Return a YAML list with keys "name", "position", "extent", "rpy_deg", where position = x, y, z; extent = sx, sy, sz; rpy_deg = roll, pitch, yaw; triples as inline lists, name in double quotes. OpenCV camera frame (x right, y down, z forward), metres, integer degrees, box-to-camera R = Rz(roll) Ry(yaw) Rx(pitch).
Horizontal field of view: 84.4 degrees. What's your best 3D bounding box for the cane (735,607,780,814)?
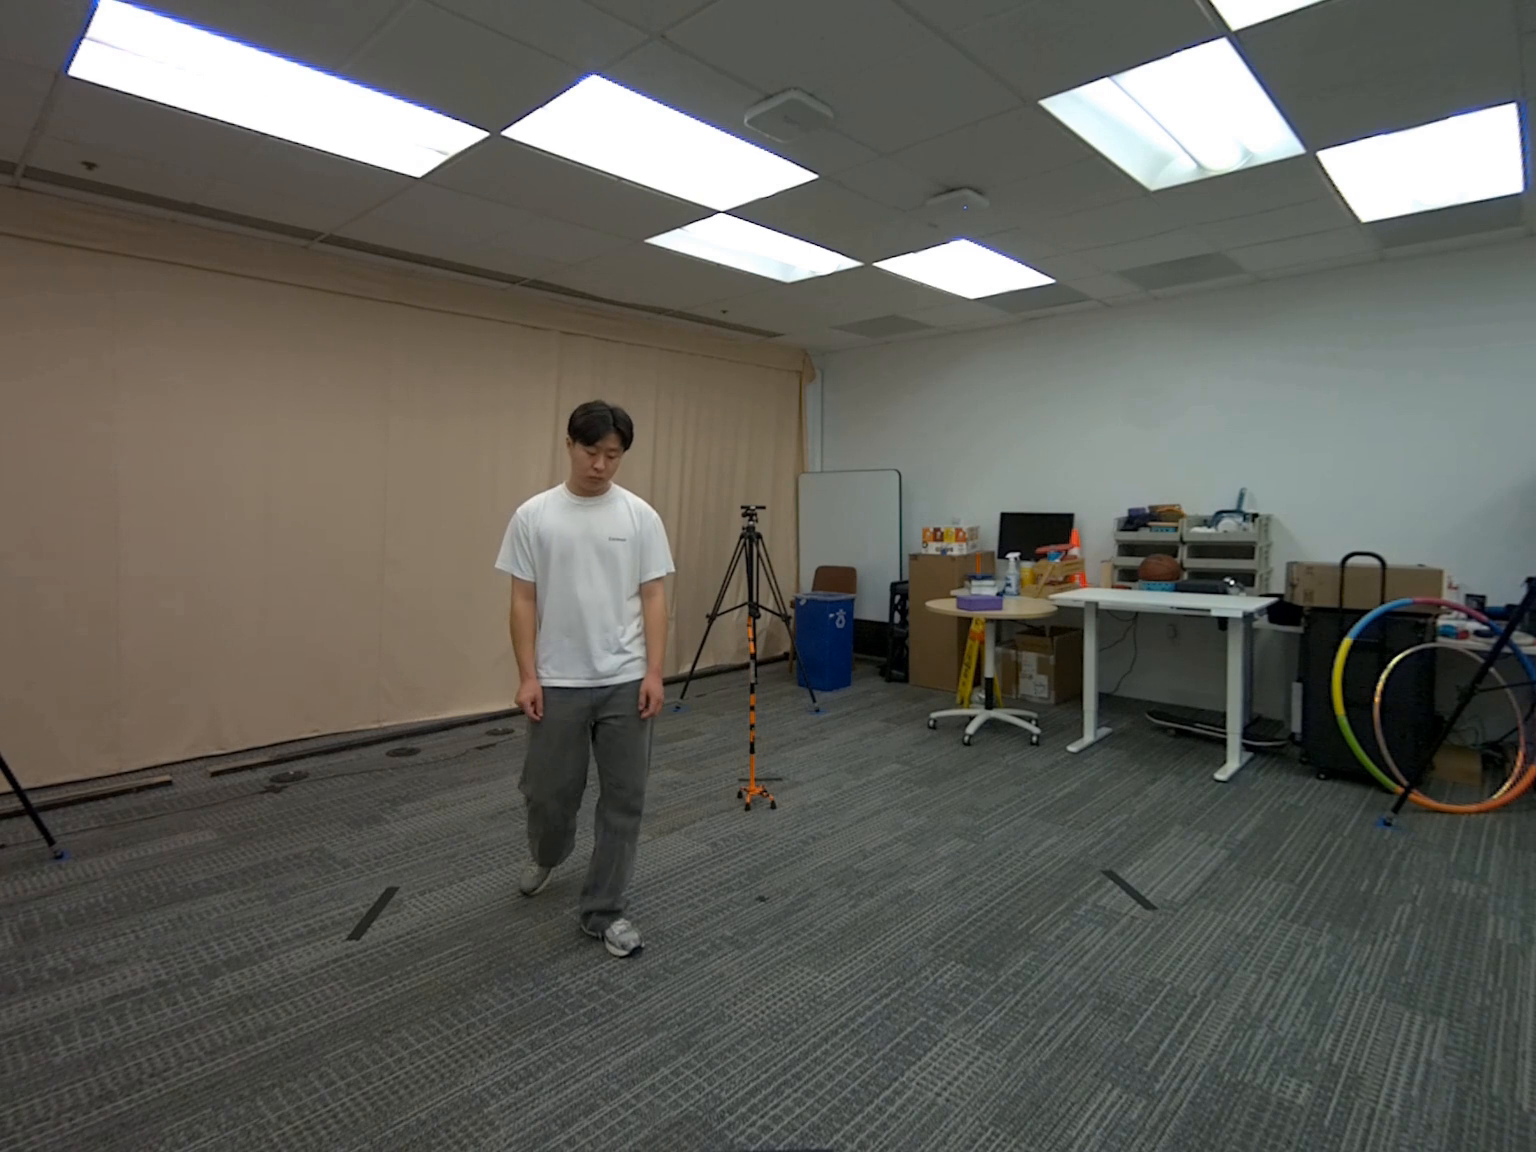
- name: "cane"
  position: [-0.052, 0.610, 3.936]
  extent: [0.150, 0.906, 0.209]
  rpy_deg: [-1, 2, -12]
